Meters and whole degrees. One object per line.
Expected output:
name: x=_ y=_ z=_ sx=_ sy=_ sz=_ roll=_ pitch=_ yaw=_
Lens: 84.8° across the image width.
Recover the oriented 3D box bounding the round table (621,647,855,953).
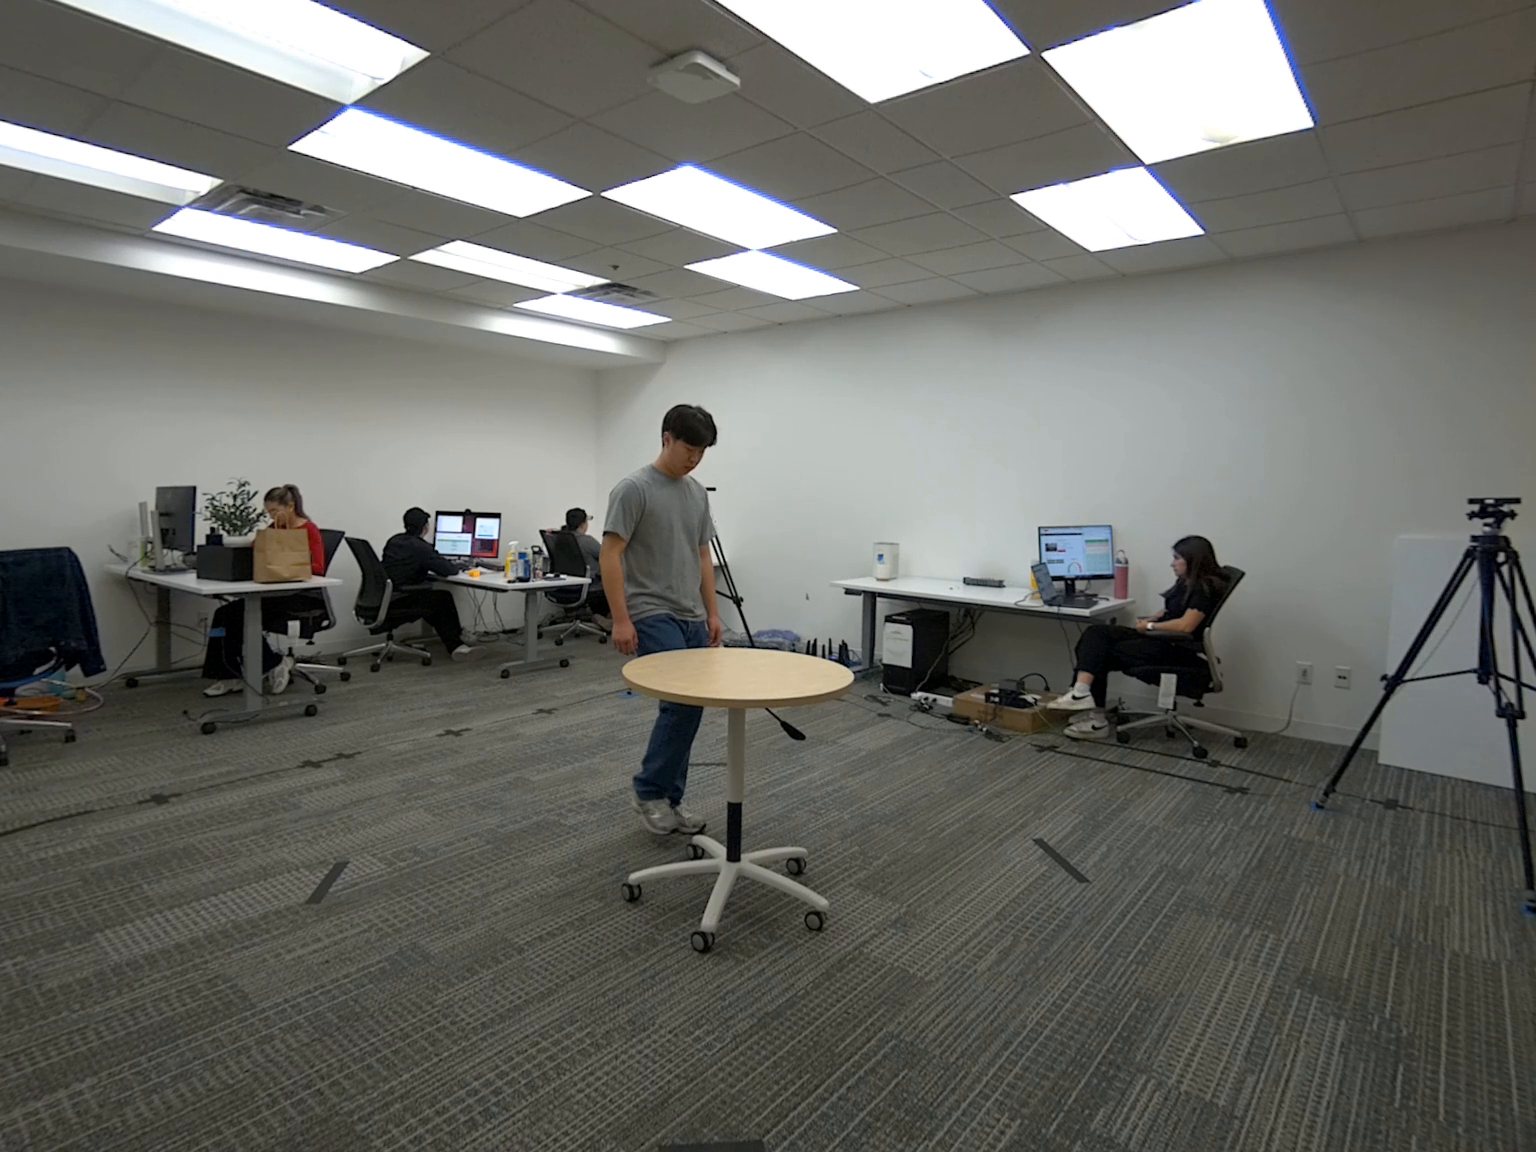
round table: x=-0.126 y=0.705 z=2.847 sx=0.763 sy=0.791 sz=0.768 roll=1 pitch=5 yaw=-2
